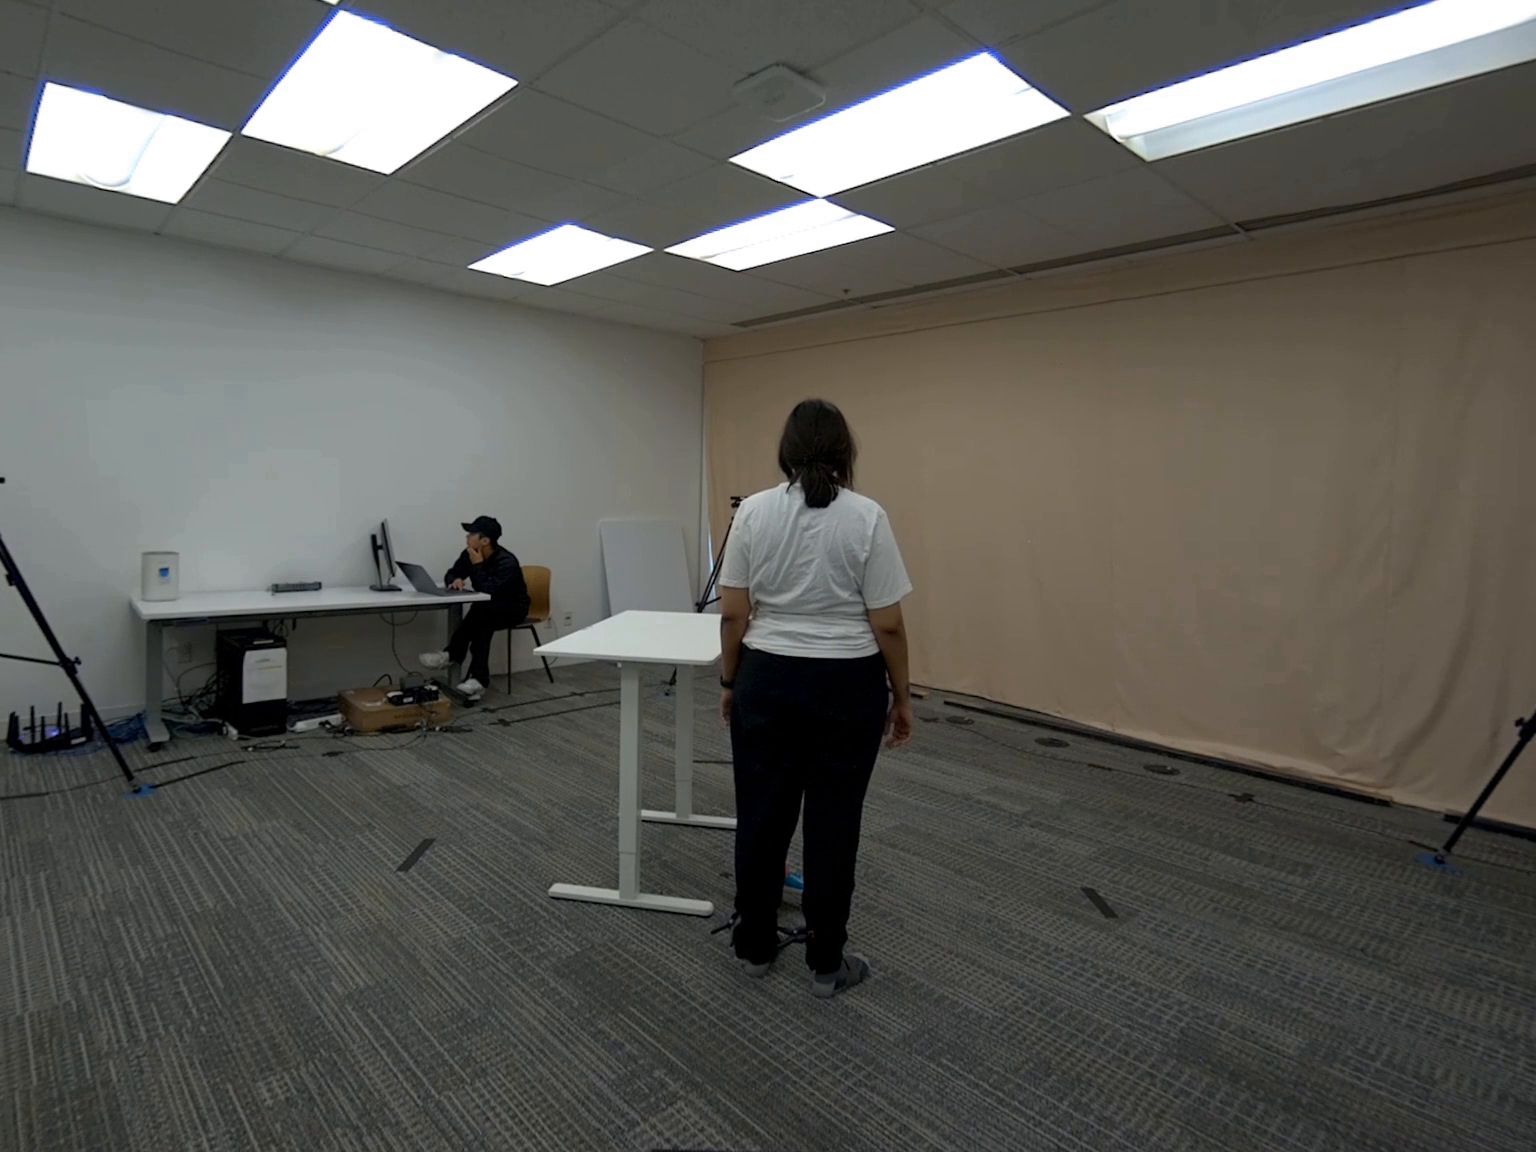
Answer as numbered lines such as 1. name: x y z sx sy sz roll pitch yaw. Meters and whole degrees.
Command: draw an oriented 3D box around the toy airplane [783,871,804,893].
1. toy airplane: 0.042 1.067 2.901 0.254 0.156 0.257 1 7 -26
